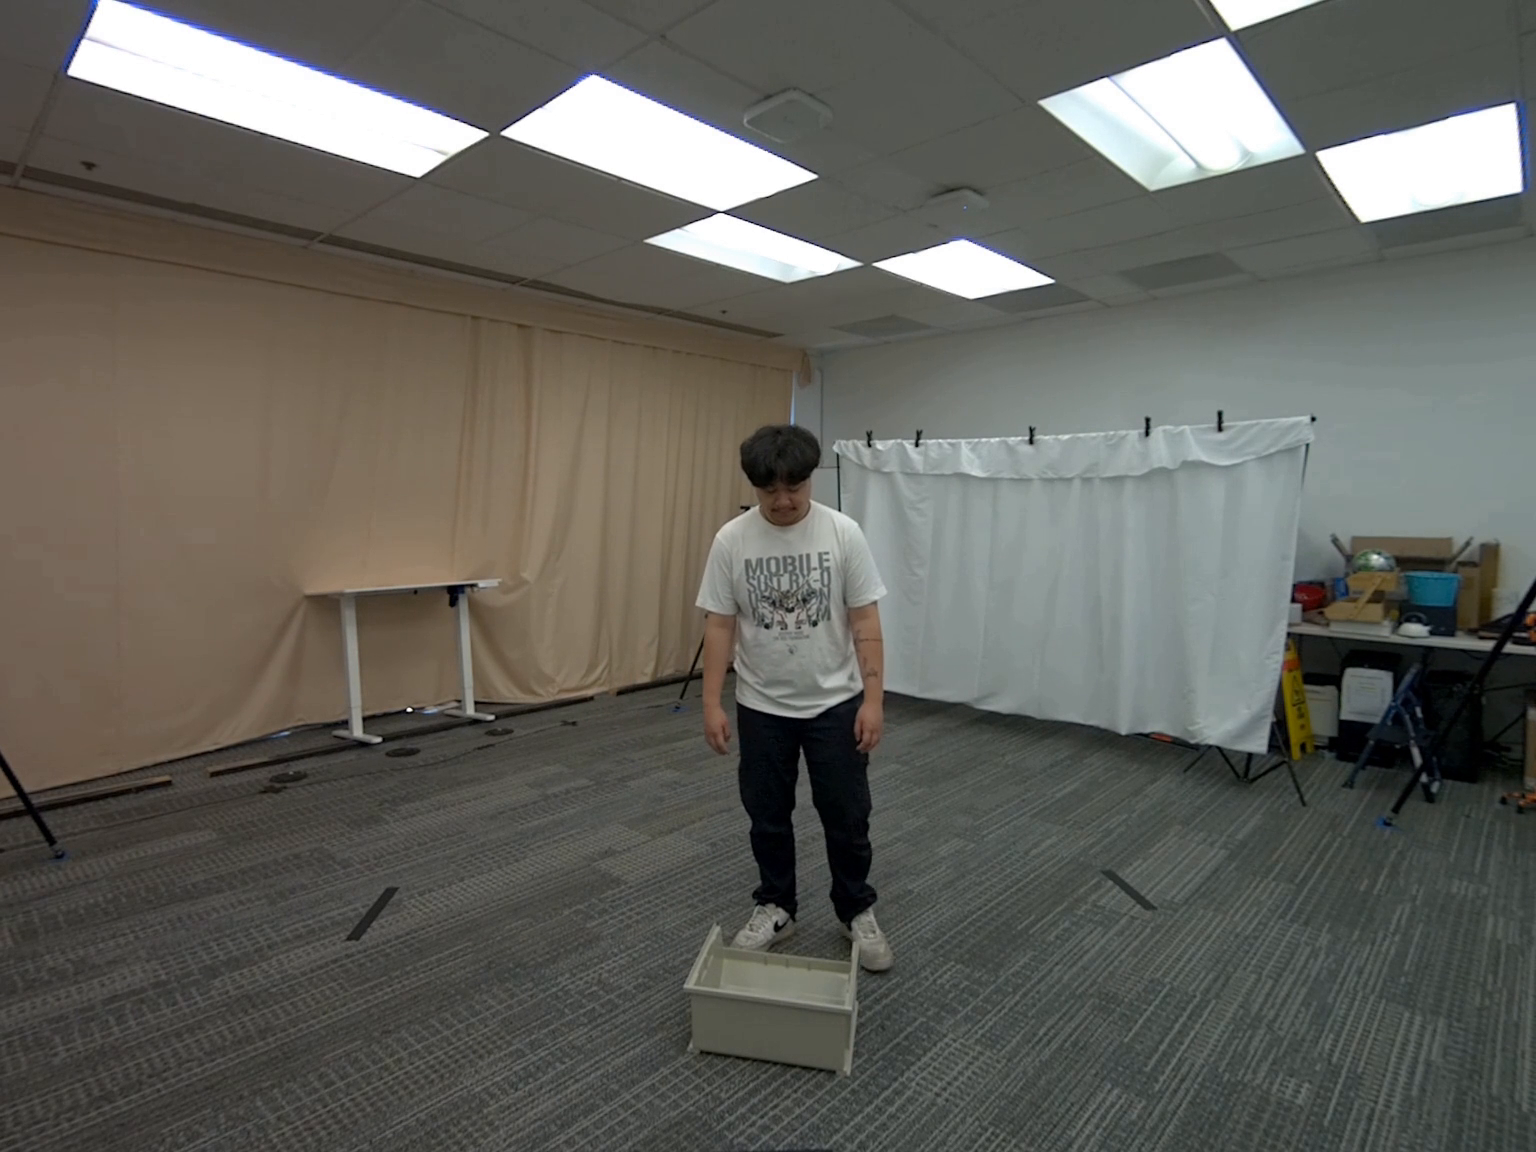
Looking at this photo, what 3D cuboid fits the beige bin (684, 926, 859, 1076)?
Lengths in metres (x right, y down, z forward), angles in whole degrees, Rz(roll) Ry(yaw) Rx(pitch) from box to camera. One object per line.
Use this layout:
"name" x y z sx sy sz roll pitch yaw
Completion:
"beige bin" 0.027 1.113 2.267 0.428 0.188 0.373 2 6 11
